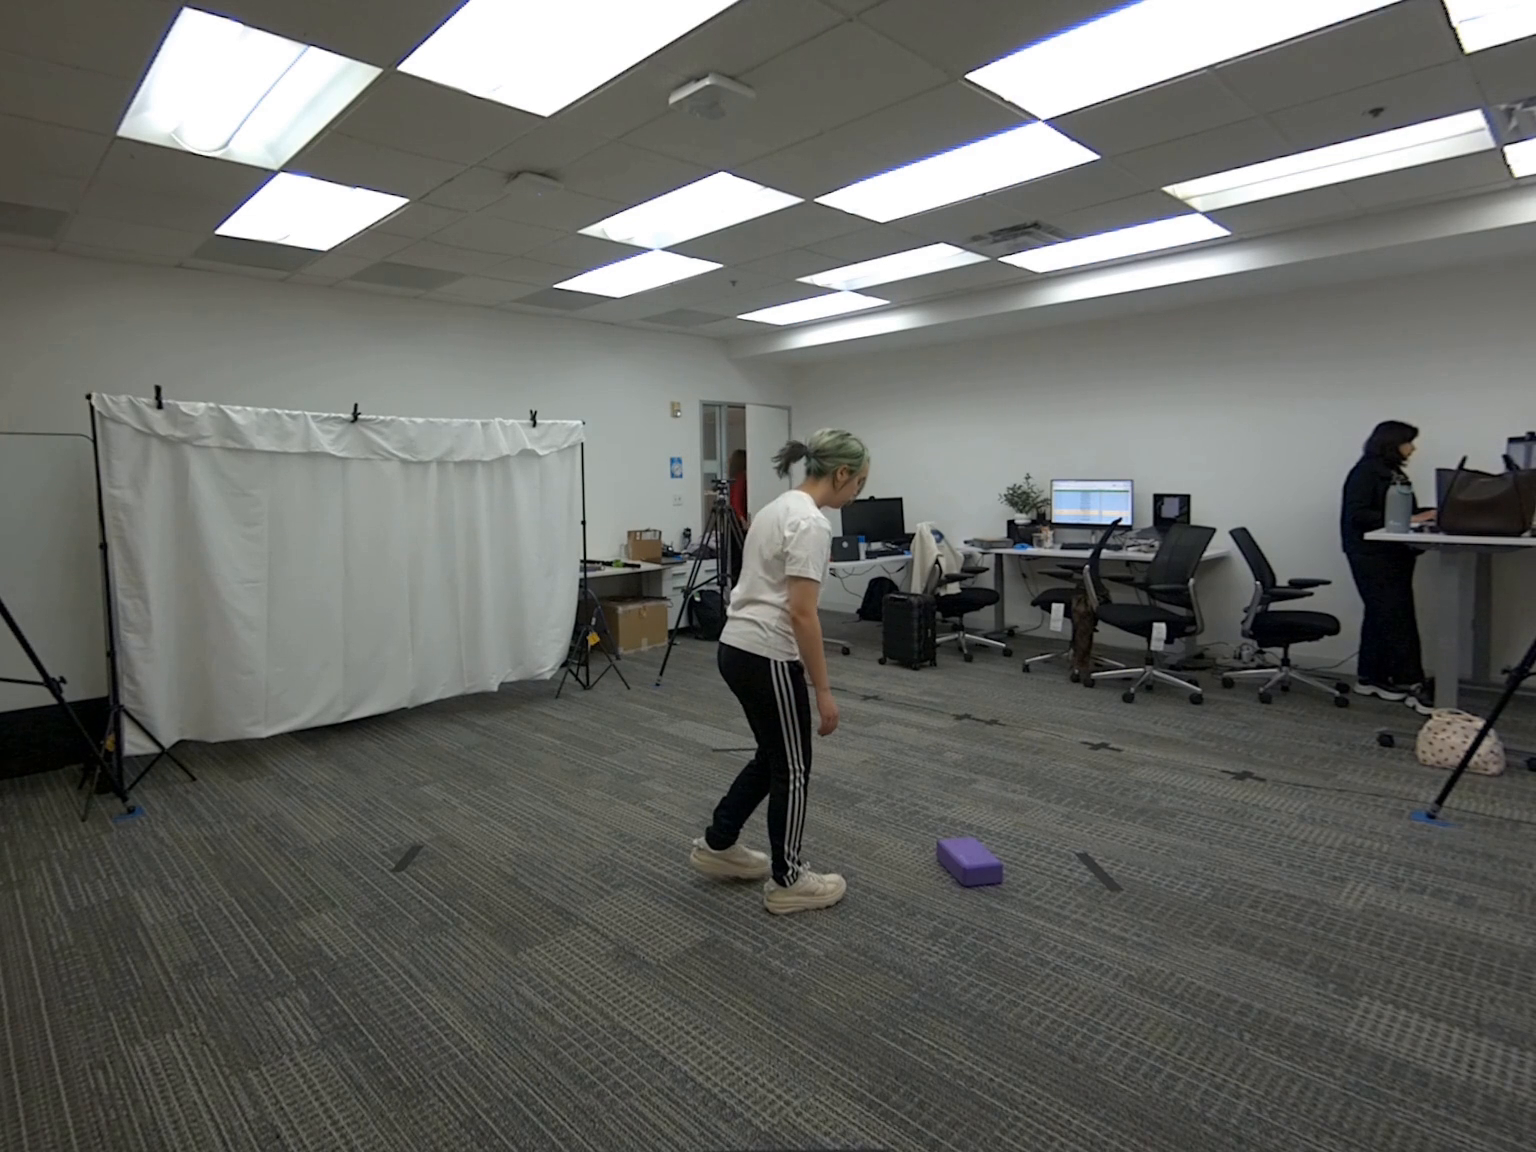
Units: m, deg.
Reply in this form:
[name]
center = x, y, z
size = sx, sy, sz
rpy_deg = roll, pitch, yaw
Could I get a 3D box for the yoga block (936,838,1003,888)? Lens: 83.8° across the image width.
[yoga block]
center = 0.713, 1.004, 3.013
size = 0.147, 0.076, 0.232
rpy_deg = -2, 6, -11
